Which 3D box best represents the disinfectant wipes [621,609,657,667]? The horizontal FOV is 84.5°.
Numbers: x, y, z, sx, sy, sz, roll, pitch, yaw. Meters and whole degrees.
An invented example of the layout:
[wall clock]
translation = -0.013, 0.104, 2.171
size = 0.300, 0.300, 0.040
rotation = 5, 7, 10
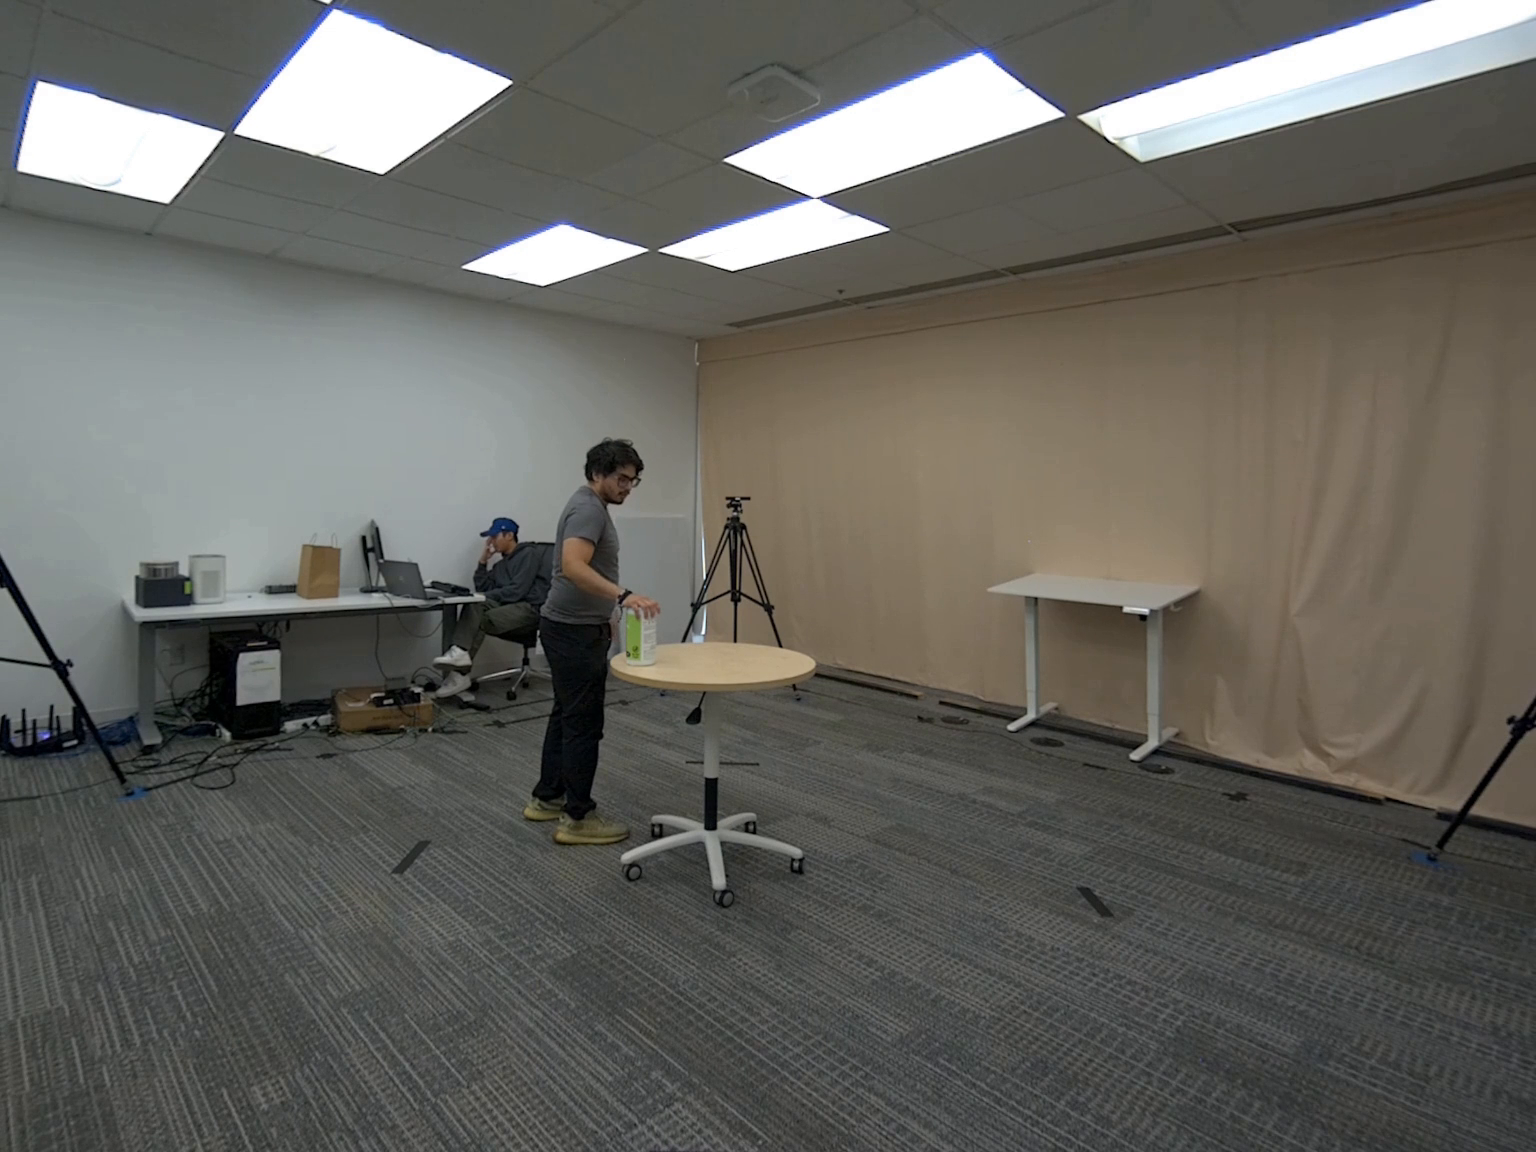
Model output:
[disinfectant wipes]
translation = -0.471, 0.216, 3.081
size = 0.118, 0.217, 0.118
rotation = -3, 3, -1
